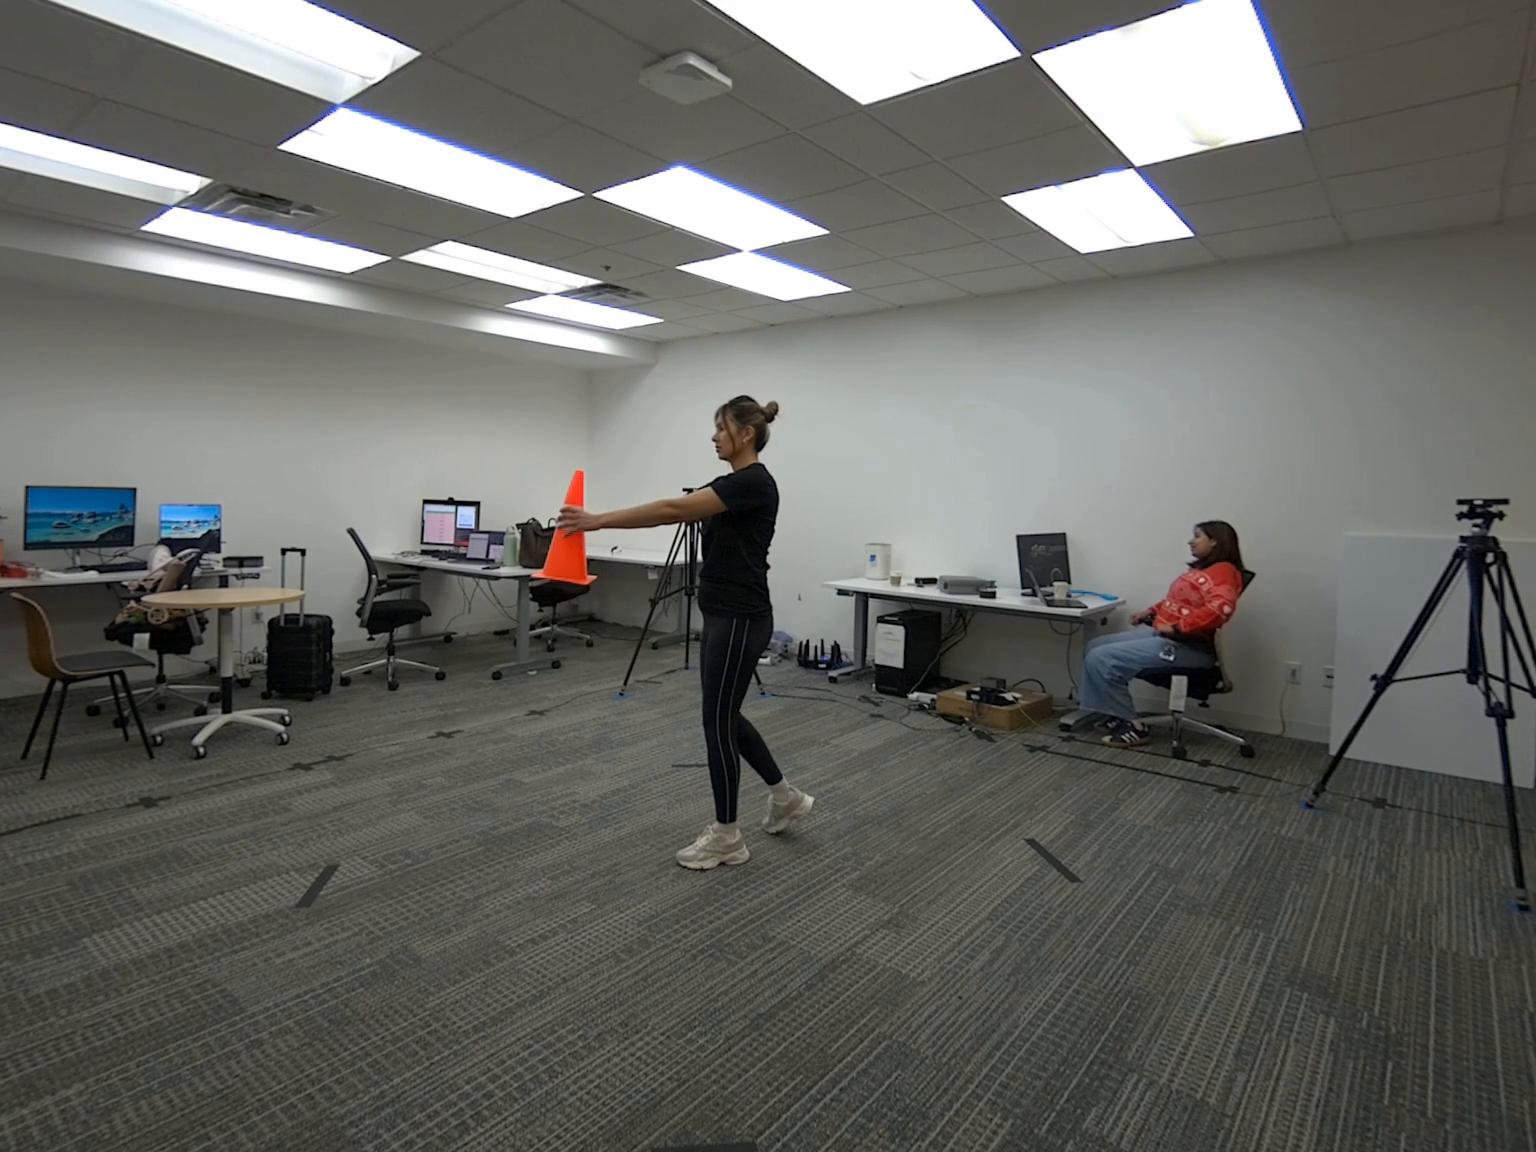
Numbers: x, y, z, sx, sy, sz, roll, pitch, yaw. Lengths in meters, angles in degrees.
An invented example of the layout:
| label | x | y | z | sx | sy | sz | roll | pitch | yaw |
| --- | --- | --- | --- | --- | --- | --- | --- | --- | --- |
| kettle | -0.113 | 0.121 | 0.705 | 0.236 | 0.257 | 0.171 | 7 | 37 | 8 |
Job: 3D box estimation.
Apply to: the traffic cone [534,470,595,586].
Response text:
| label | x | y | z | sx | sy | sz | roll | pitch | yaw |
| --- | --- | --- | --- | --- | --- | --- | --- | --- | --- |
| traffic cone | -0.703 | -0.188 | 3.007 | 0.204 | 0.384 | 0.204 | 7 | -1 | -5 |
